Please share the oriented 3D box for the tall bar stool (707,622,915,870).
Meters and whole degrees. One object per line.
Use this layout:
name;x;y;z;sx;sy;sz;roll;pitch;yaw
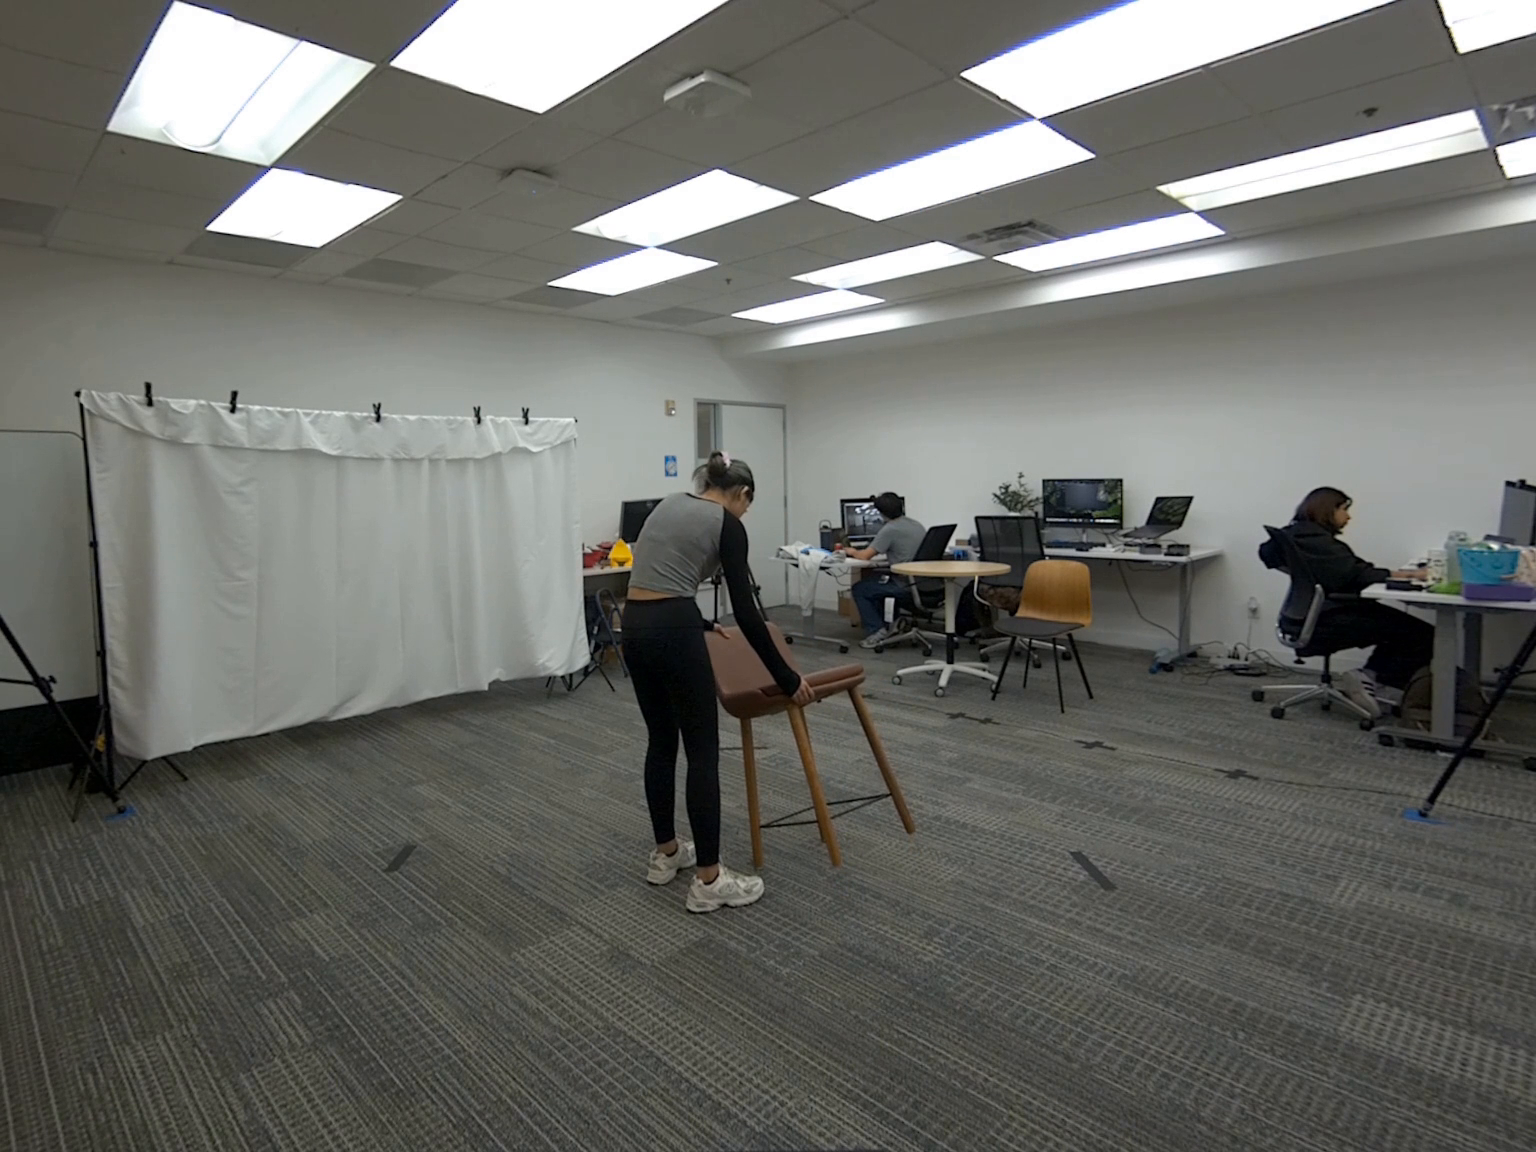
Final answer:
tall bar stool;0.122;0.561;3.118;0.444;0.903;0.473;-4;-17;-41
